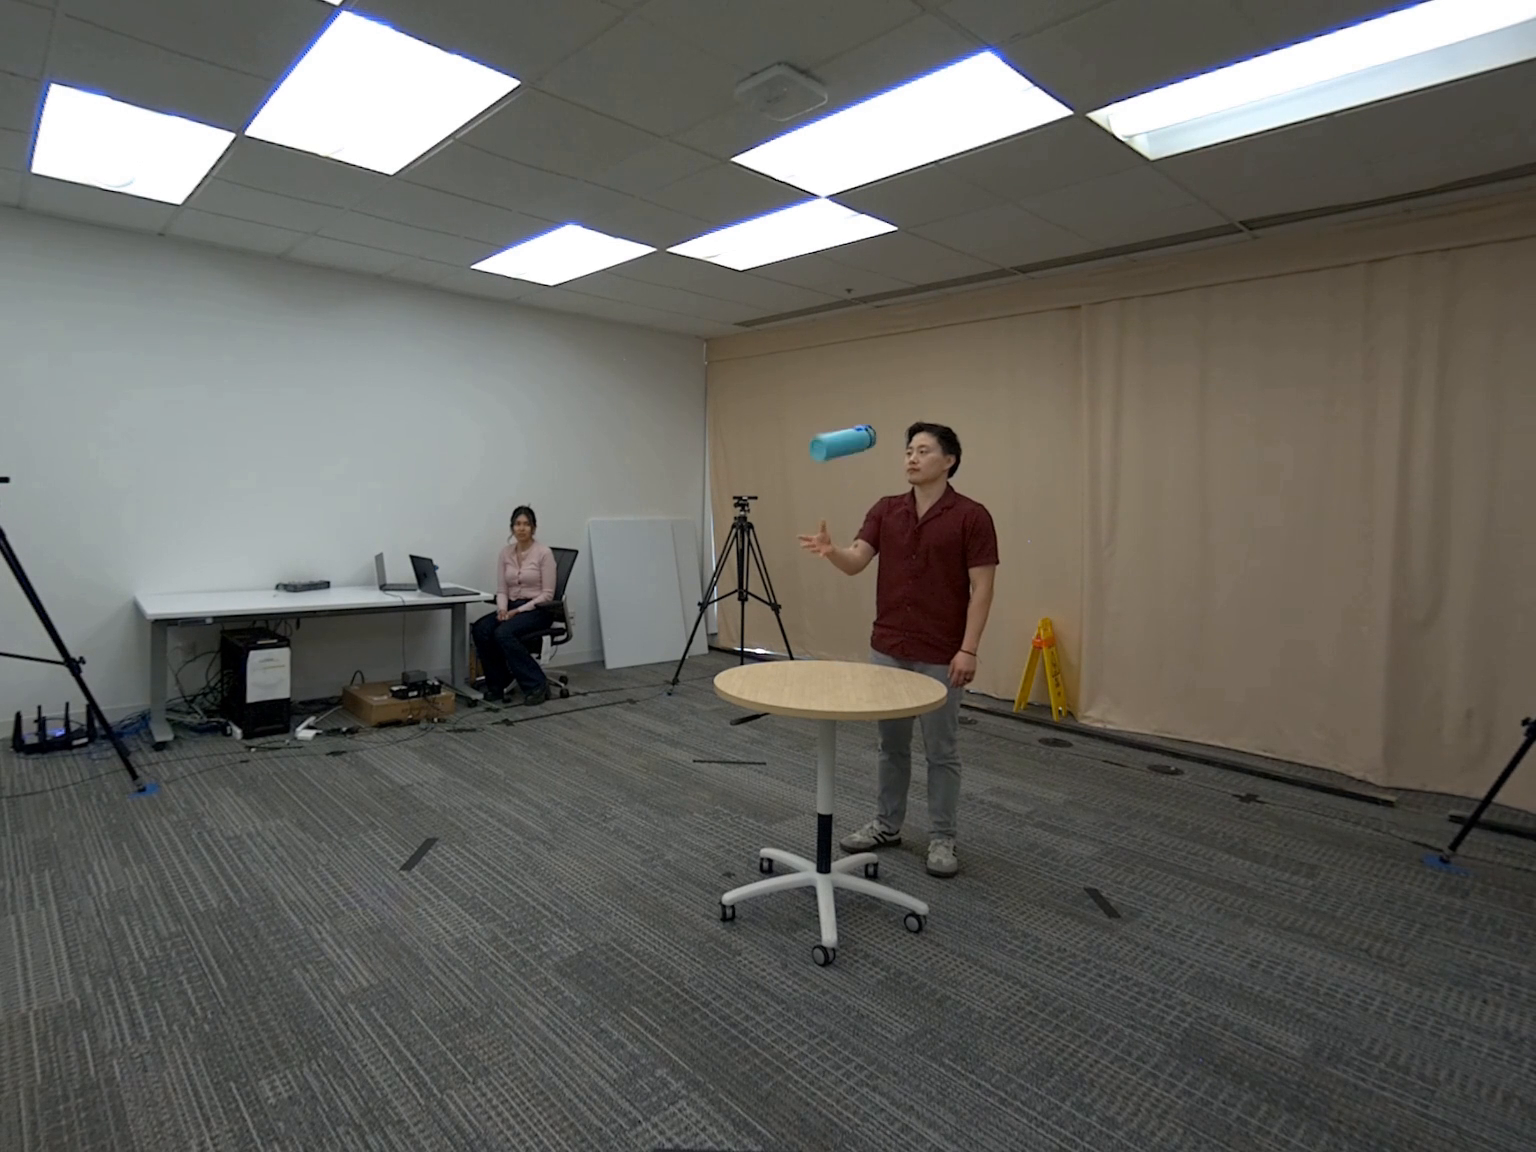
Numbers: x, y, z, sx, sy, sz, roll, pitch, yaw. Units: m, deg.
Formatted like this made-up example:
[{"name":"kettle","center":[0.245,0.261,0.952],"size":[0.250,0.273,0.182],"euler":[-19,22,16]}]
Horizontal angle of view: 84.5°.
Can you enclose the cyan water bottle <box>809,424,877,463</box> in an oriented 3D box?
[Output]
[{"name":"cyan water bottle","center":[0.265,-0.430,2.949],"size":[0.279,0.091,0.095],"euler":[-21,18,-38]}]
